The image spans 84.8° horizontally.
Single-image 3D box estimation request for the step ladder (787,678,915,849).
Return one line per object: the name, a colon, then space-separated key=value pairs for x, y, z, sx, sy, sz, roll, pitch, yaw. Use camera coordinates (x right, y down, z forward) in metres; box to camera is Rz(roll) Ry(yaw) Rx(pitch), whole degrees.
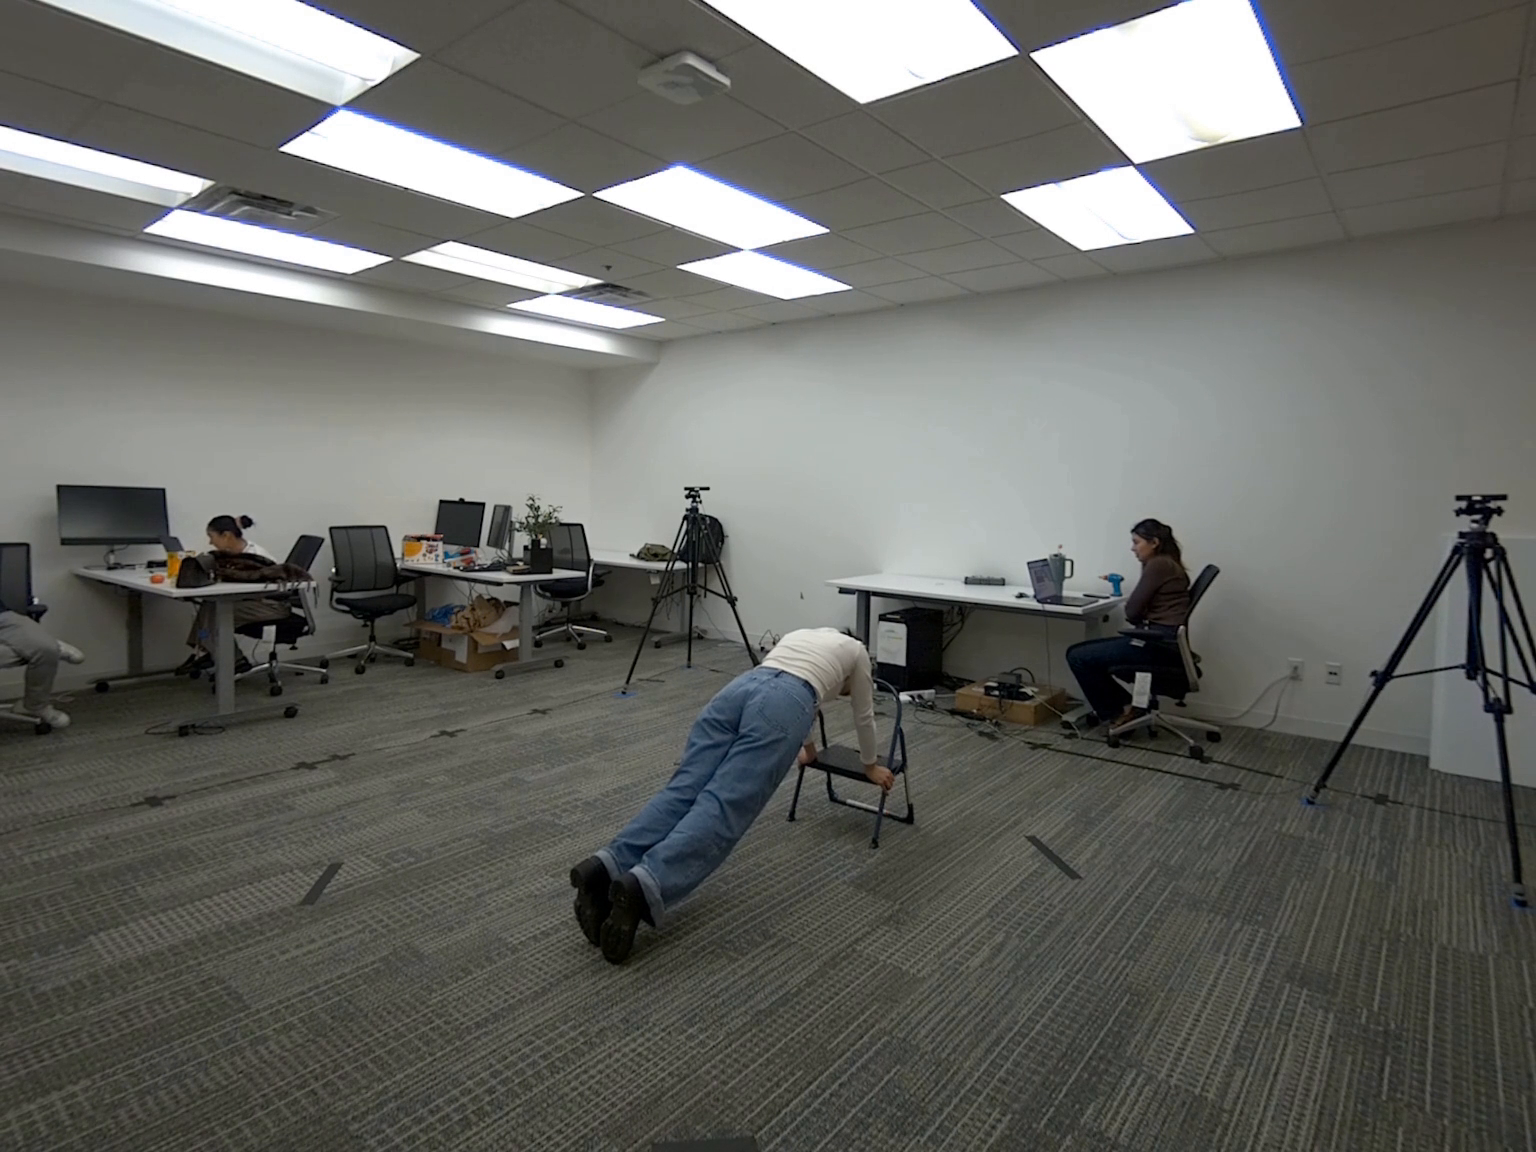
step ladder: x=0.351 y=0.730 z=3.562 sx=0.445 sy=0.604 sz=0.339 roll=4 pitch=4 yaw=38
